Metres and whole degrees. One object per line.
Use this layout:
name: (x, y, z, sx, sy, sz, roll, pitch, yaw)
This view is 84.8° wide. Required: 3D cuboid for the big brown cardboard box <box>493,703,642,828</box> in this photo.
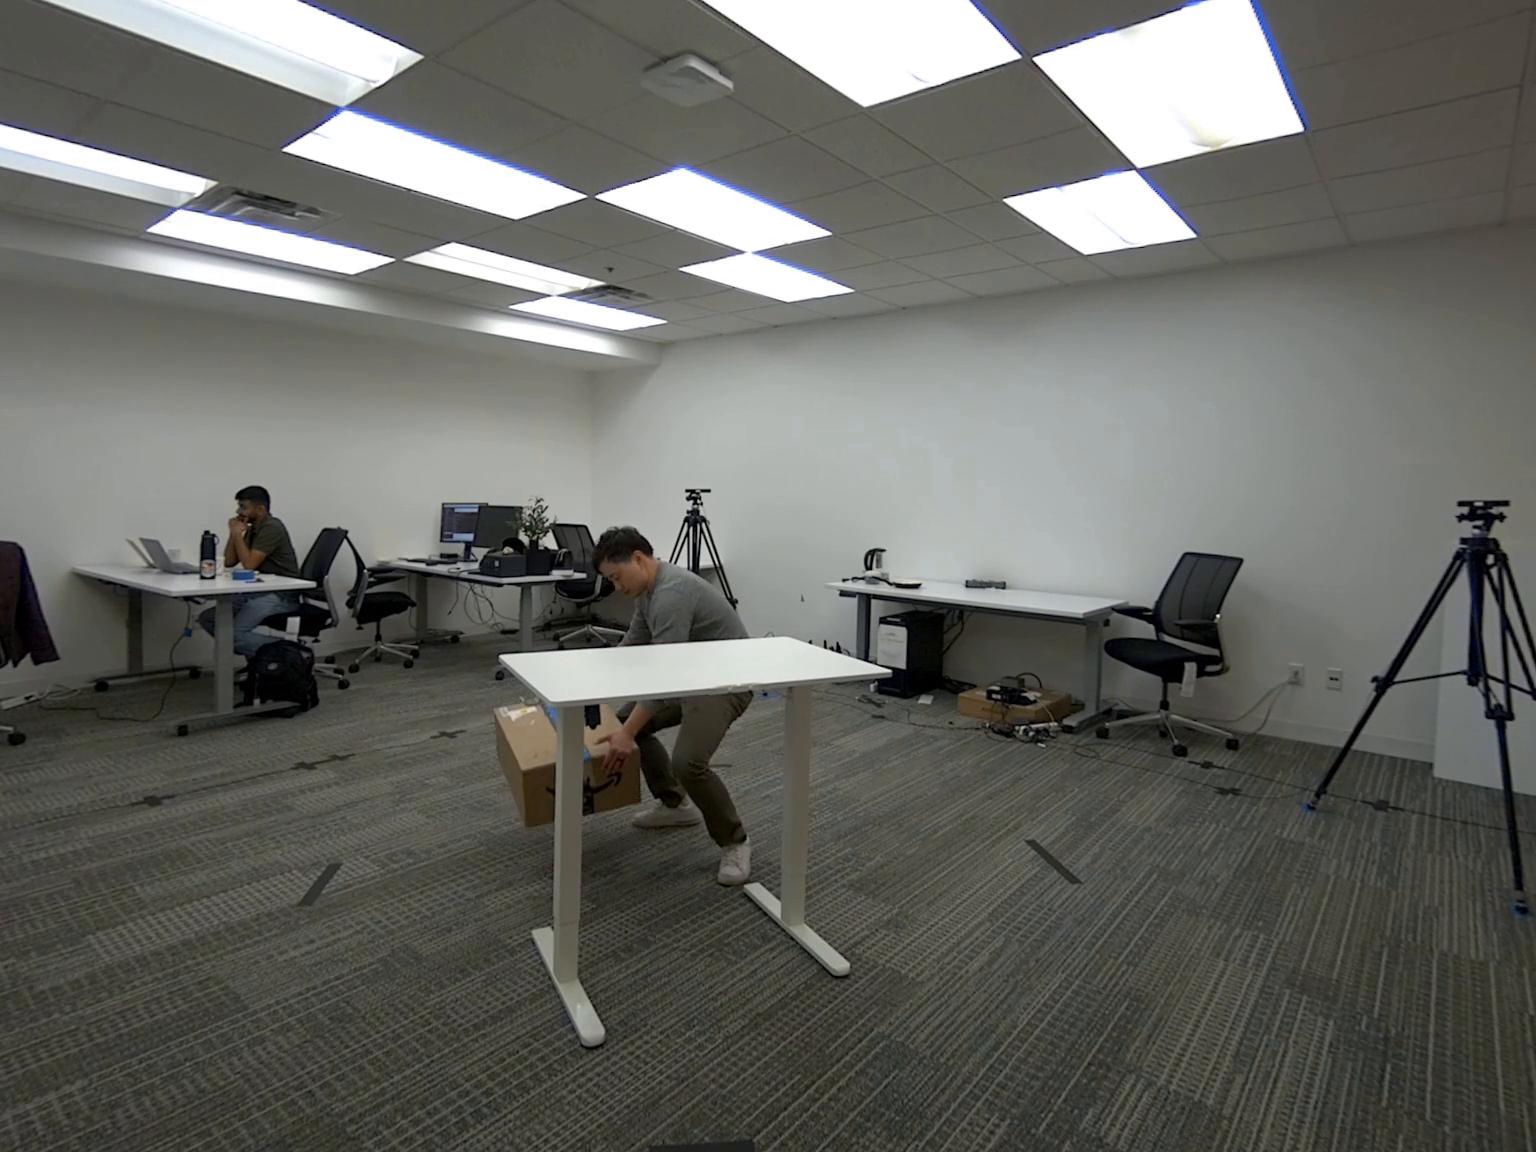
big brown cardboard box: (-0.778, 0.659, 3.192, 0.409, 0.230, 0.609, -8, 17, -25)
